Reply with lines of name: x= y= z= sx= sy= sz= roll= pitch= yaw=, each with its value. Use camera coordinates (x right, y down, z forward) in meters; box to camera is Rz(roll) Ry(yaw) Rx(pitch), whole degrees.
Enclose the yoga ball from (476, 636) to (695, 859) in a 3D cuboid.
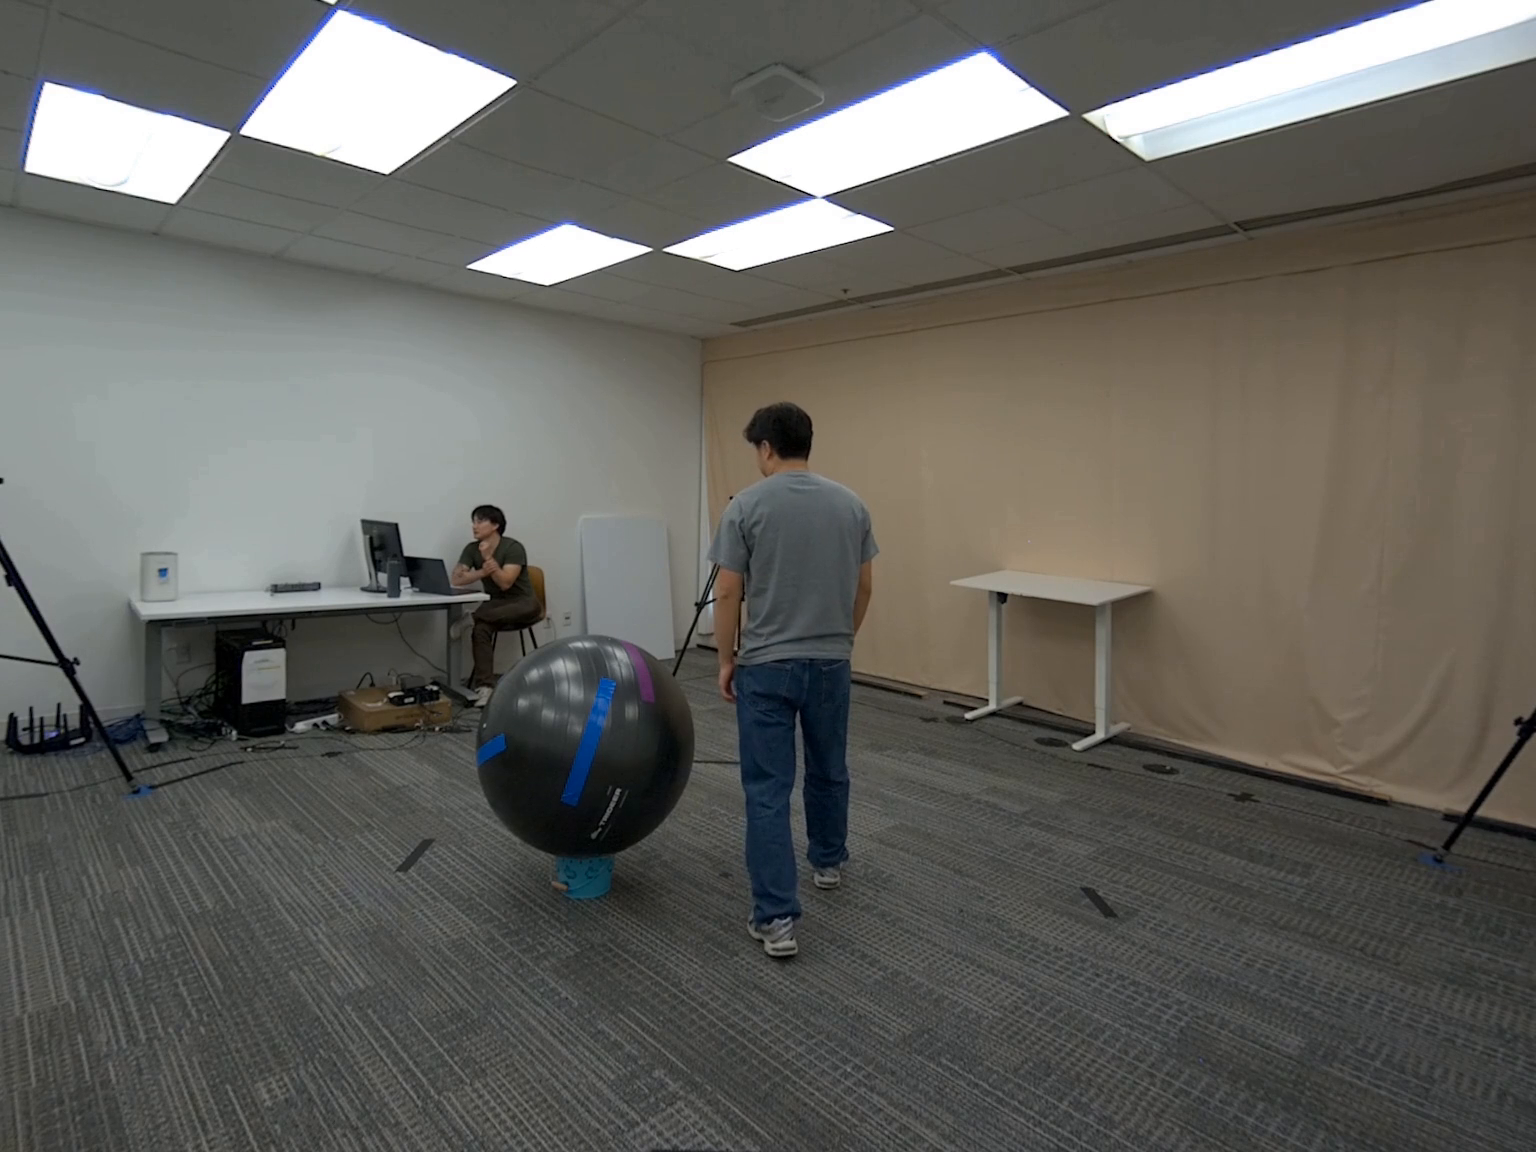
yoga ball: x=-0.641 y=0.595 z=2.969 sx=0.757 sy=0.756 sz=0.761 roll=1 pitch=4 yaw=-1
